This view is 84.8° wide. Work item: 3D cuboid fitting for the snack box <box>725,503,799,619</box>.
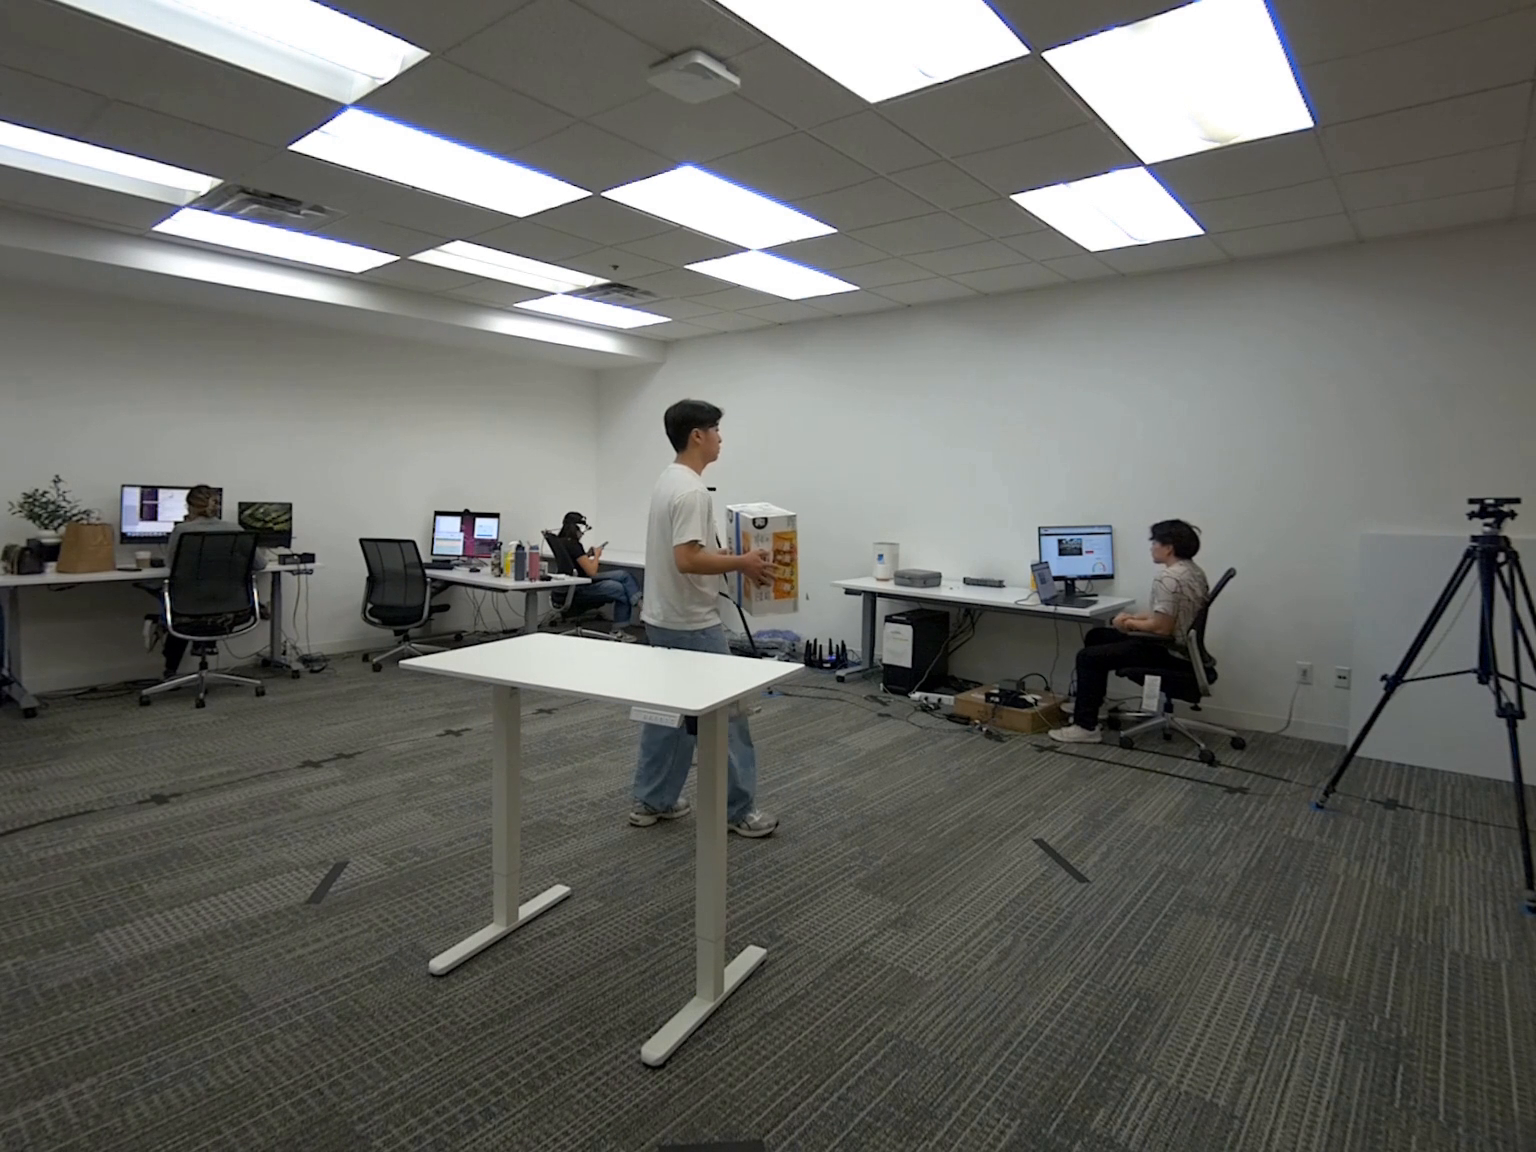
[{"bbox_3d":[-0.046,-0.076,3.556,0.202,0.401,0.350,-5,12,-19],"label":"snack box"}]
